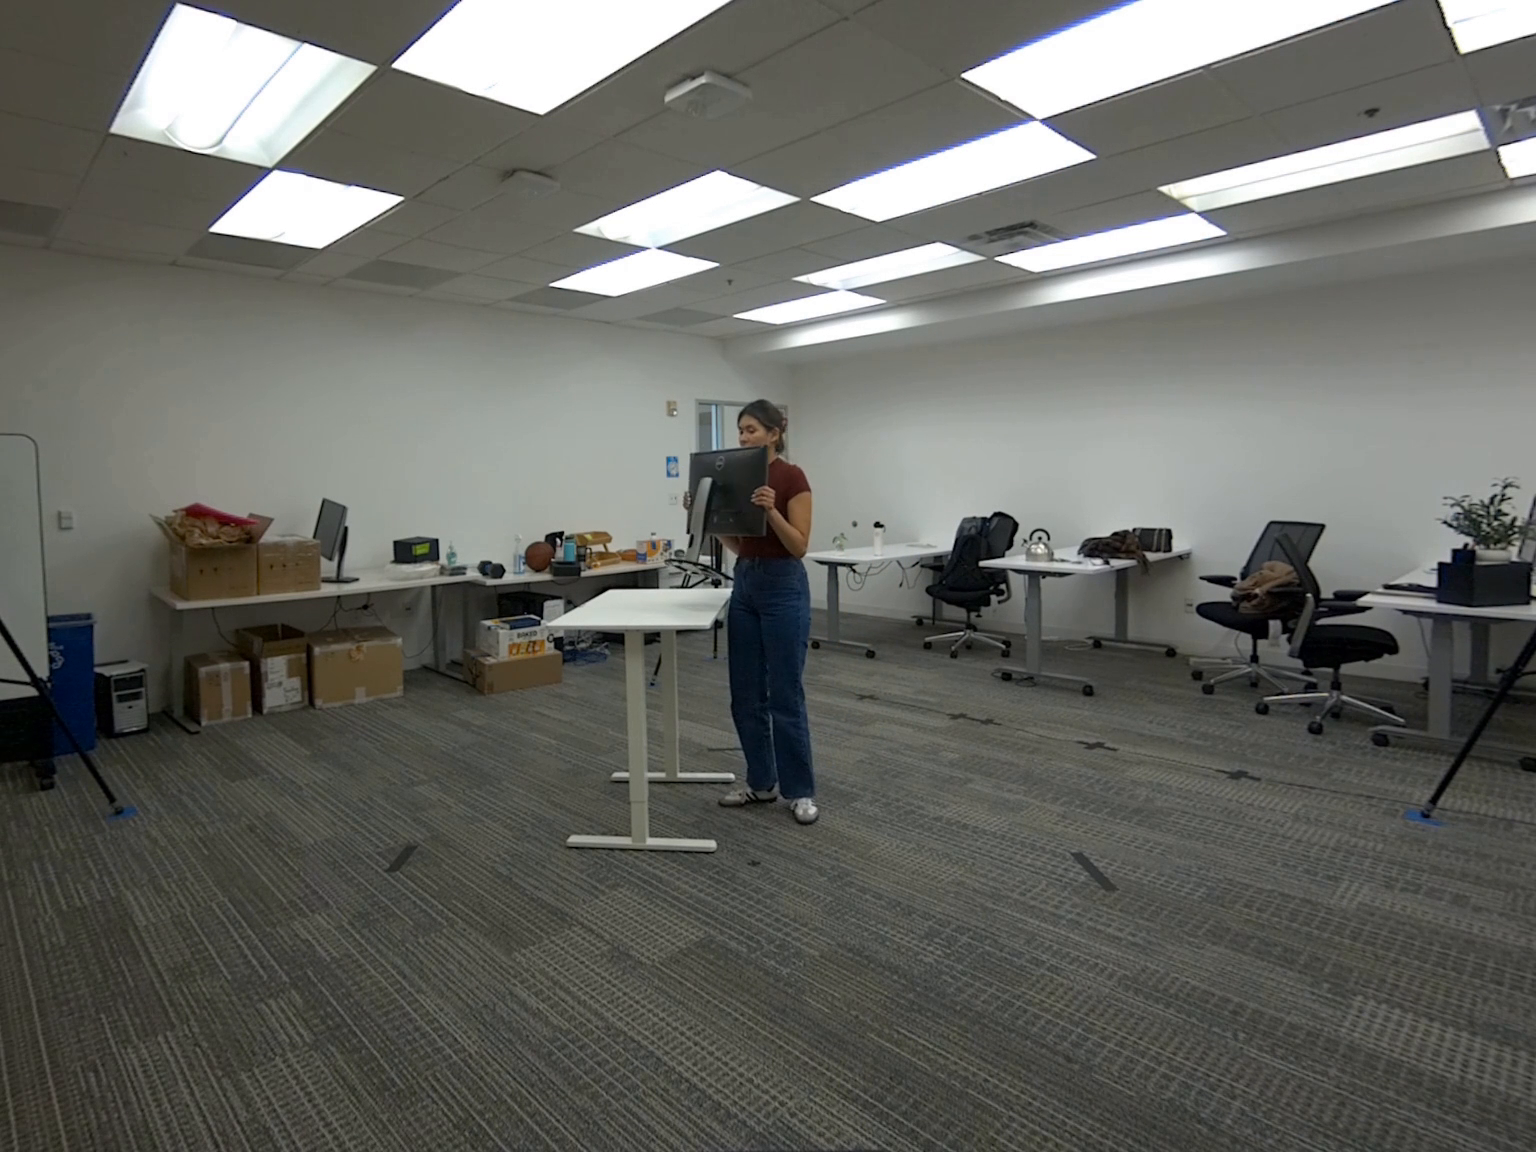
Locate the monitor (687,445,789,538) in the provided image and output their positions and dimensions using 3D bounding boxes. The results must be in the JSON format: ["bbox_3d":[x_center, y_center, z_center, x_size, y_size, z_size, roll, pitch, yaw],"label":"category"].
[{"bbox_3d":[-0.221,-0.261,3.434,0.180,0.526,0.555,21,-11,-37],"label":"monitor"}]
